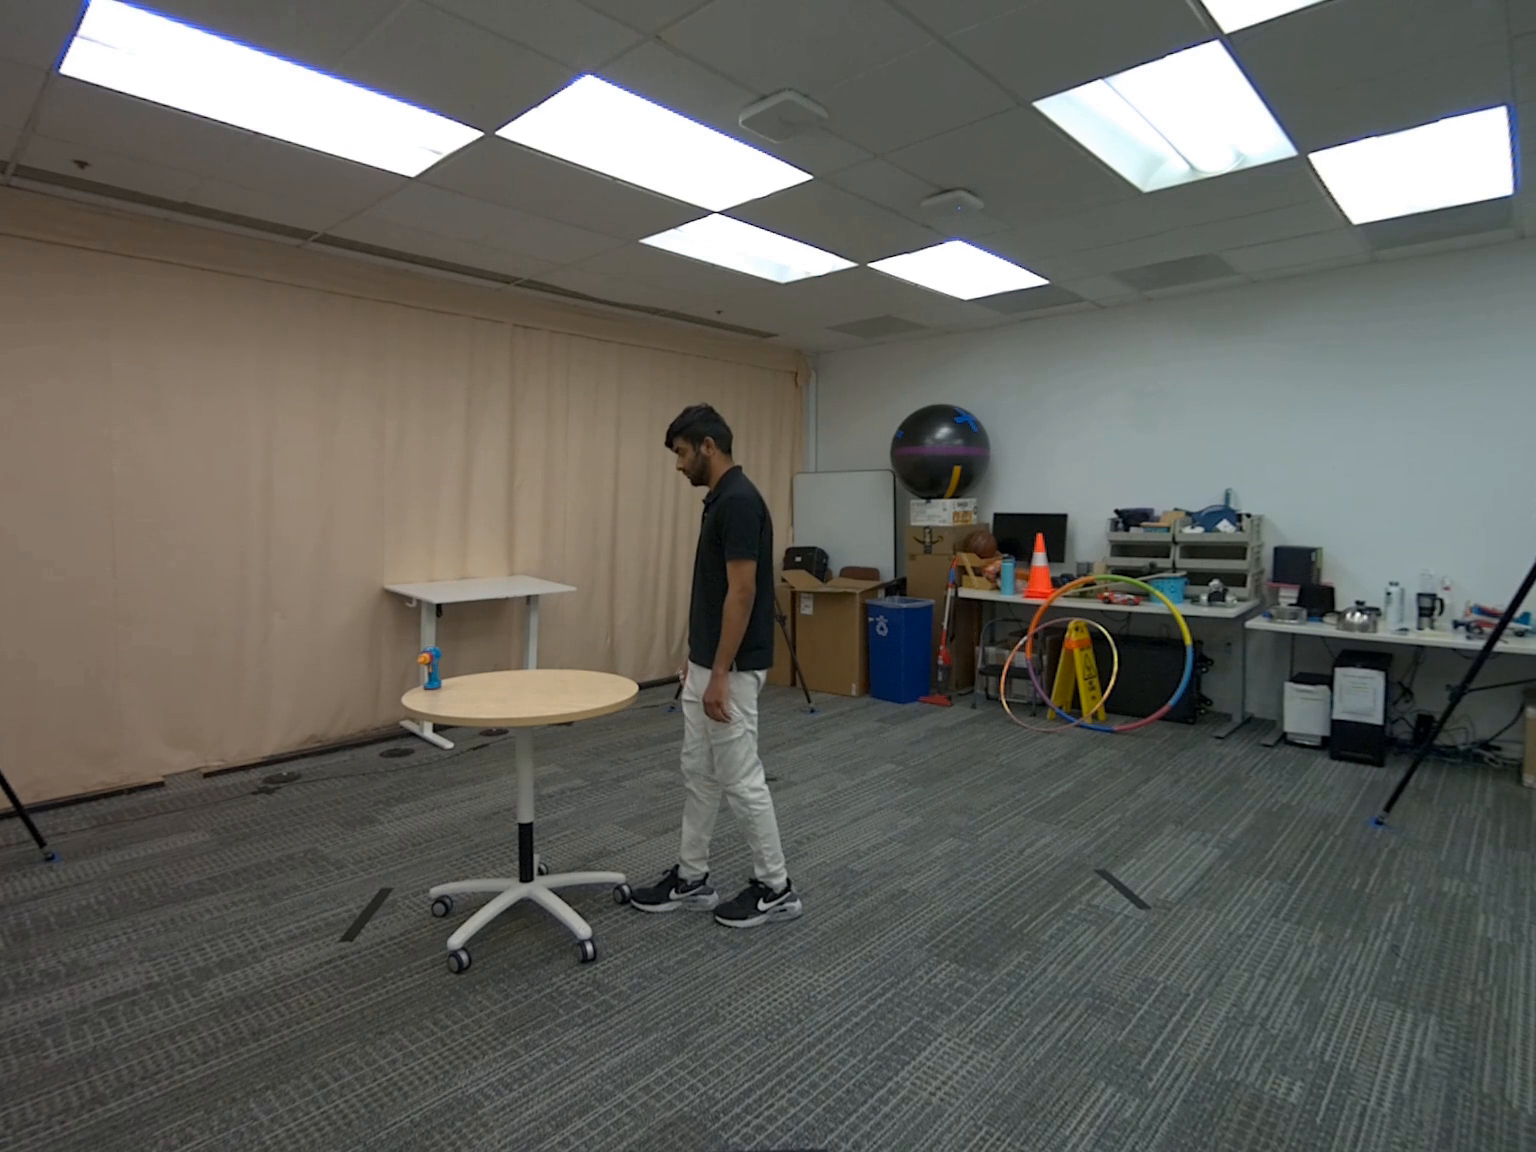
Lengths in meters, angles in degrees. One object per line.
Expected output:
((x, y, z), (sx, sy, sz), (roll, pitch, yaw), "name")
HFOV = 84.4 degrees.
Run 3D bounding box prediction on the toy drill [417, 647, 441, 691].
((-1.133, 0.313, 2.809), (0.061, 0.146, 0.170), (1, 4, -2), "toy drill")
